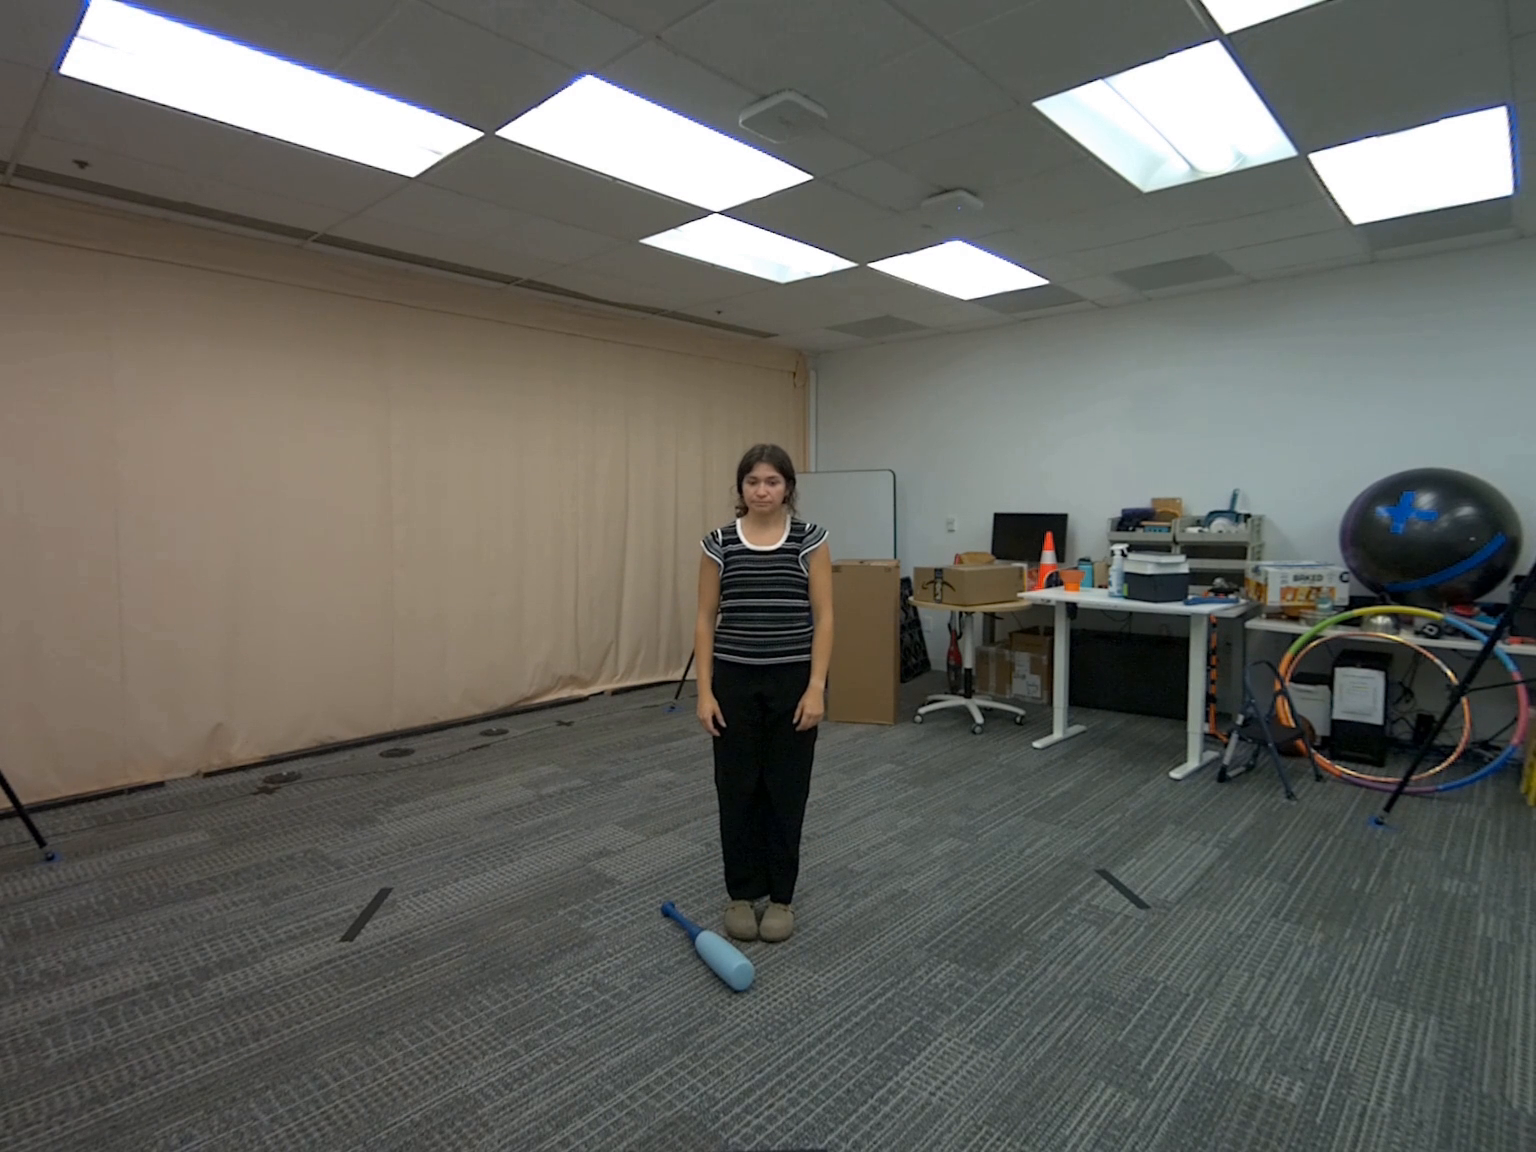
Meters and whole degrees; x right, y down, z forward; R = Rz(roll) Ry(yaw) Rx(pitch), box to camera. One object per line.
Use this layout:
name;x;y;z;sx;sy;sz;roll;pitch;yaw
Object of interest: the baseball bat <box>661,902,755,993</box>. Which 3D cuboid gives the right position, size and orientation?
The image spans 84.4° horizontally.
baseball bat;-0.205;1.141;2.628;0.087;0.089;0.557;-2;2;-29
